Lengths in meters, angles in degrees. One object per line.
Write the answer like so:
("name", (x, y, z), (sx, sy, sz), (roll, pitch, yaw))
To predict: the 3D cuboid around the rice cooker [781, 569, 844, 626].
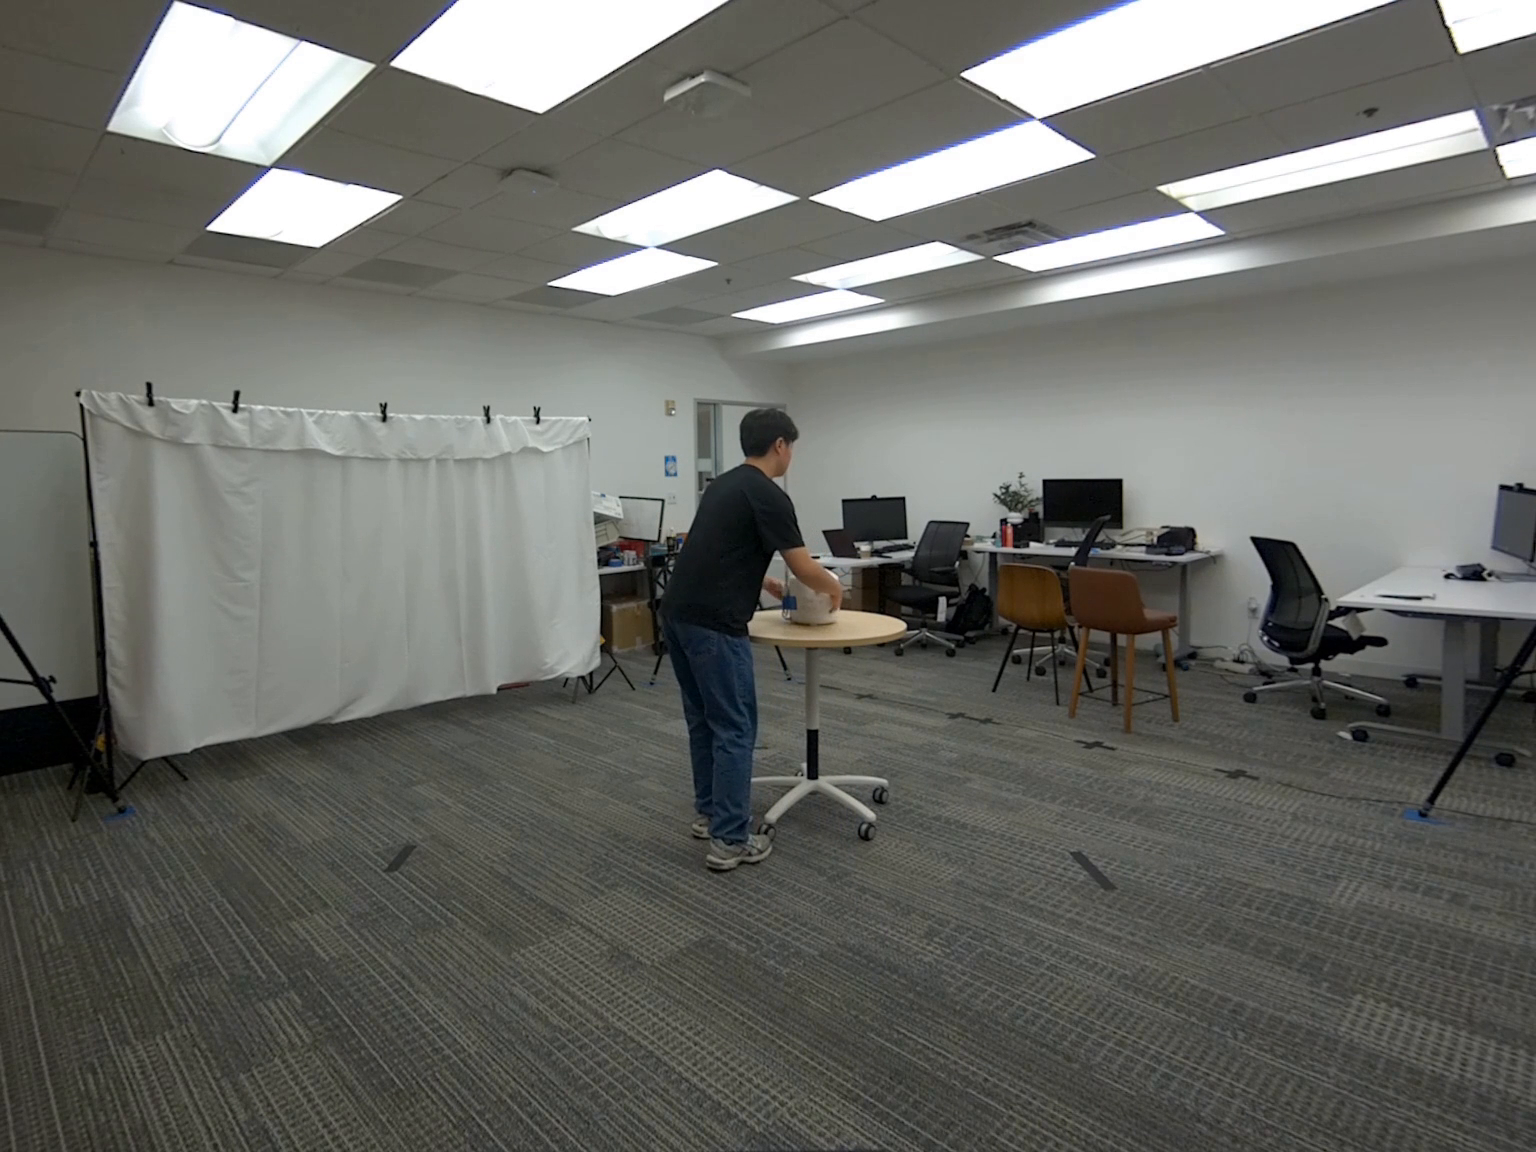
("rice cooker", (0.192, 0.075, 3.548), (0.227, 0.231, 0.212), (5, 9, 44))
